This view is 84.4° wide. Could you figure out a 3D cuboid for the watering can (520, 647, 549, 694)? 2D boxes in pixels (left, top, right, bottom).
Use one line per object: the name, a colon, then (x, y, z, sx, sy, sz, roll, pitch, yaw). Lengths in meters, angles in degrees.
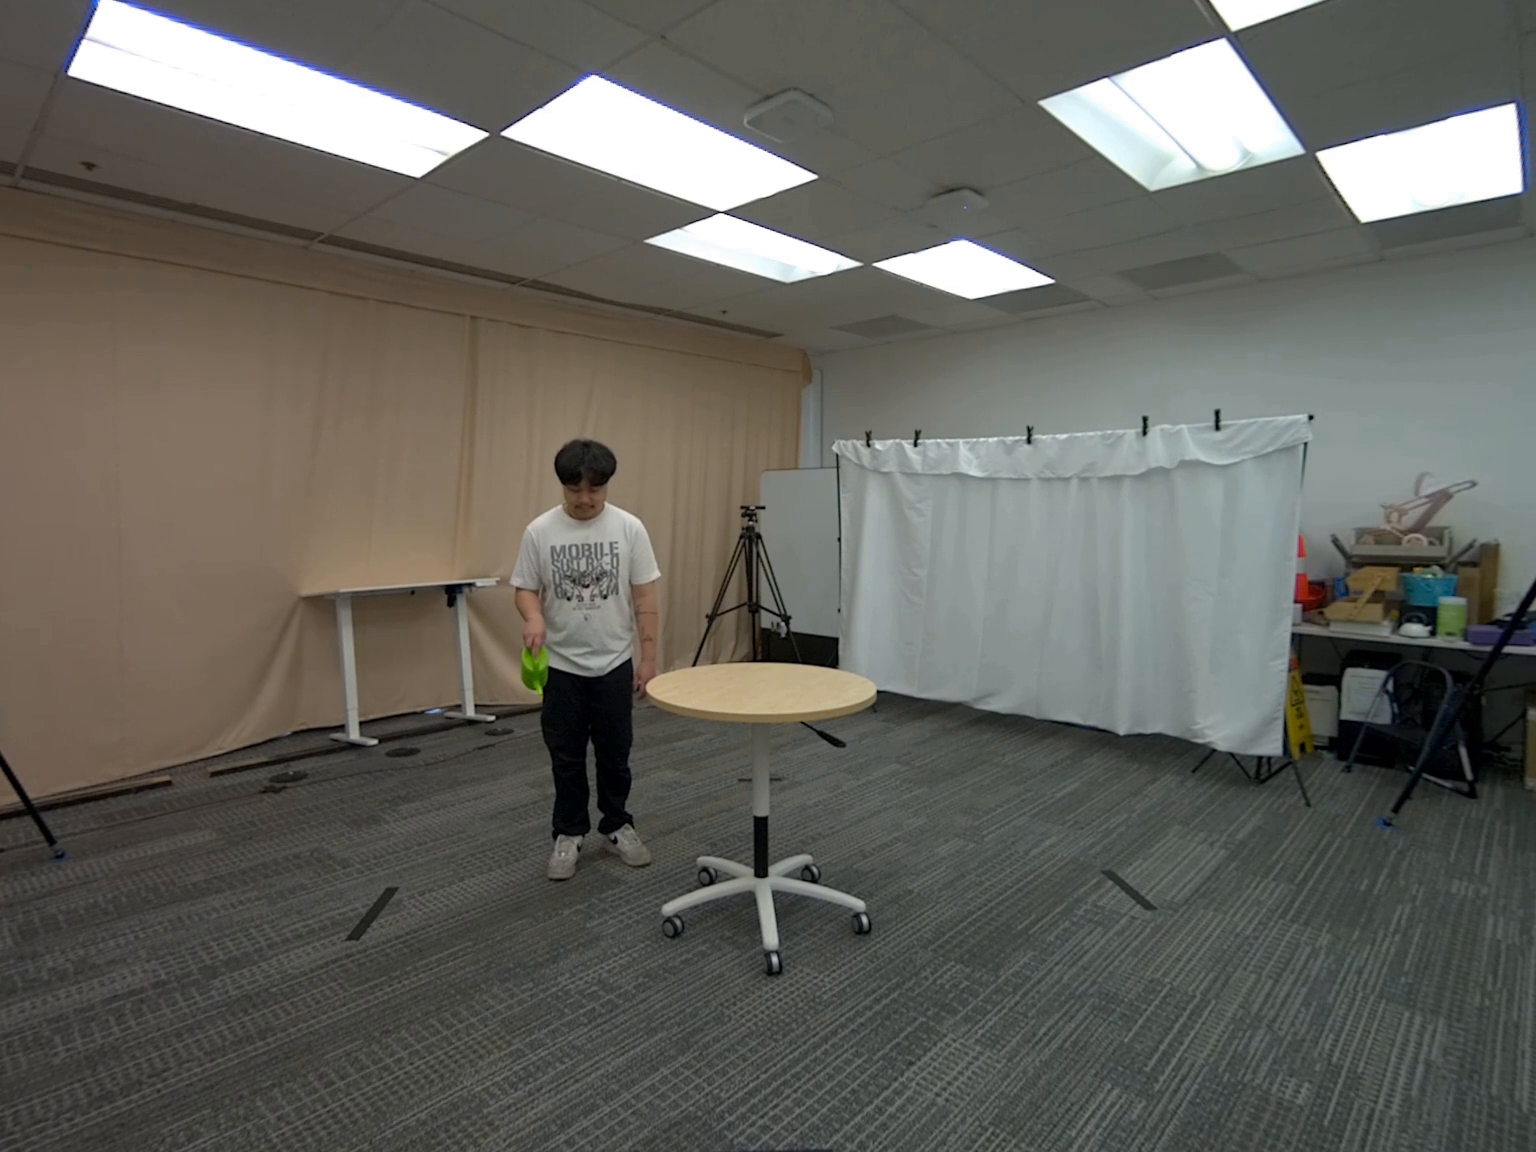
watering can: (-0.841, 0.348, 3.000, 0.097, 0.283, 0.176, 11, -41, -9)
